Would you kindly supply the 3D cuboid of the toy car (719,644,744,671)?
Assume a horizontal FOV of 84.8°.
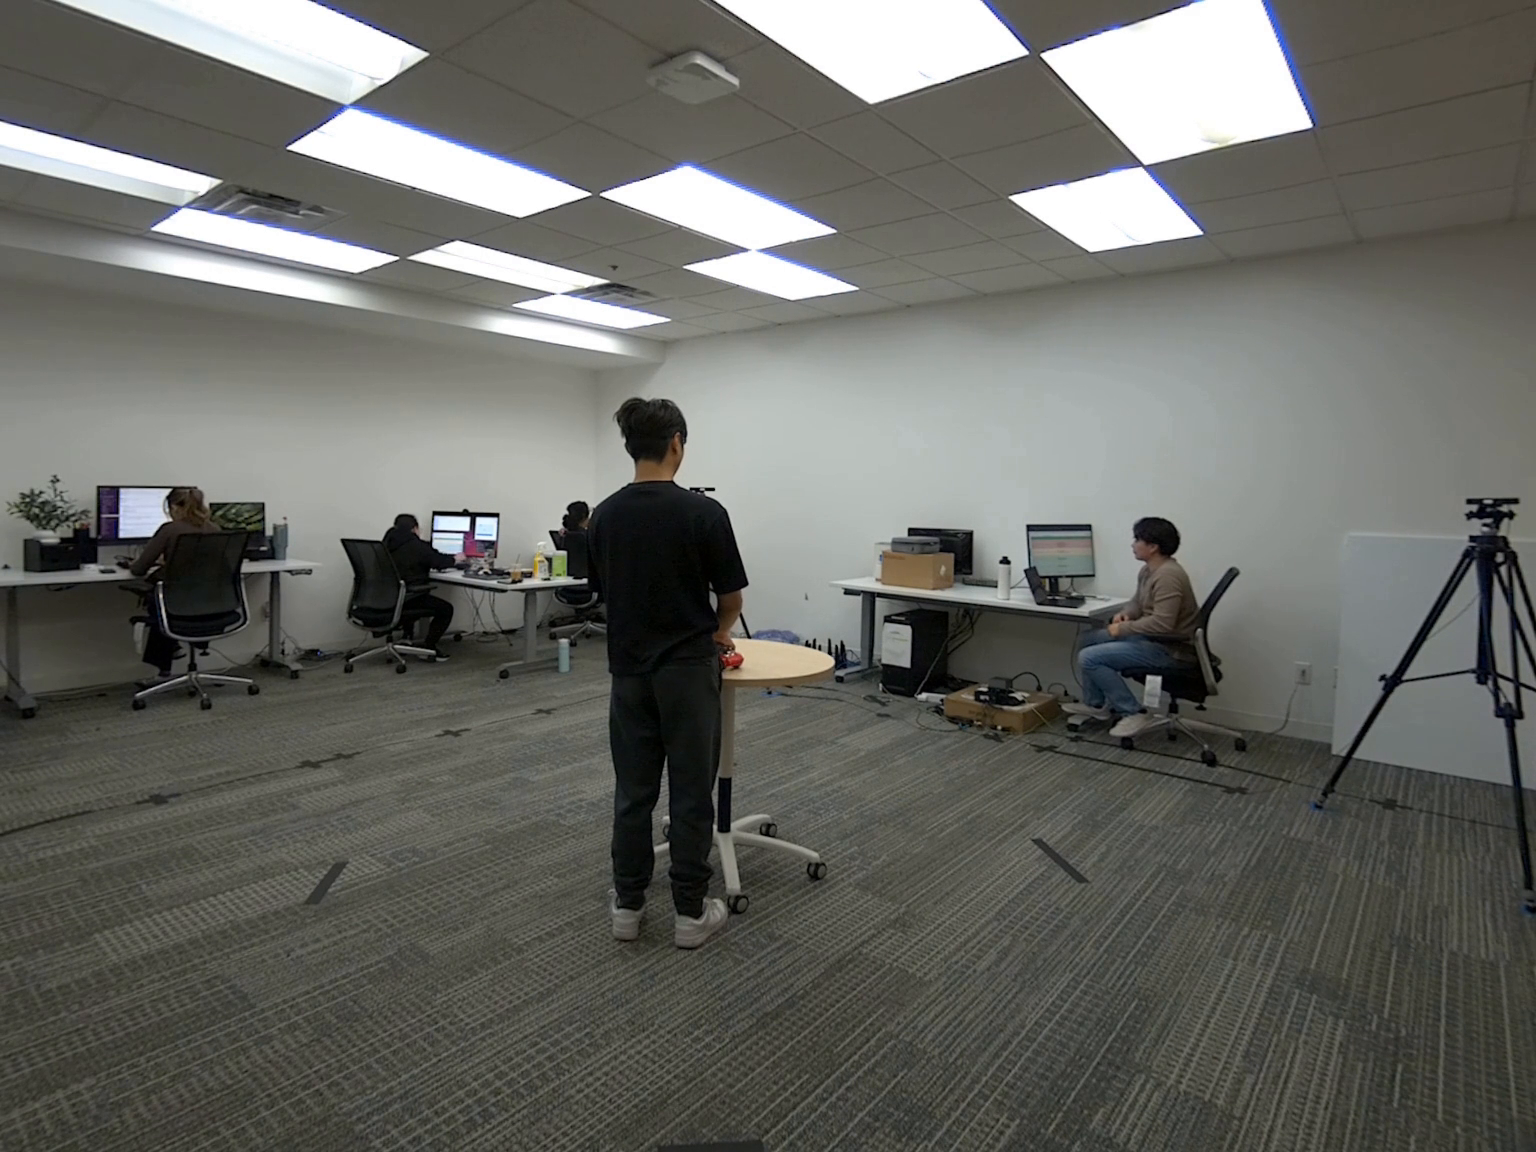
[{"bbox_3d":[-0.209,0.253,2.913,0.265,0.082,0.126,31,21,36],"label":"toy car"}]
